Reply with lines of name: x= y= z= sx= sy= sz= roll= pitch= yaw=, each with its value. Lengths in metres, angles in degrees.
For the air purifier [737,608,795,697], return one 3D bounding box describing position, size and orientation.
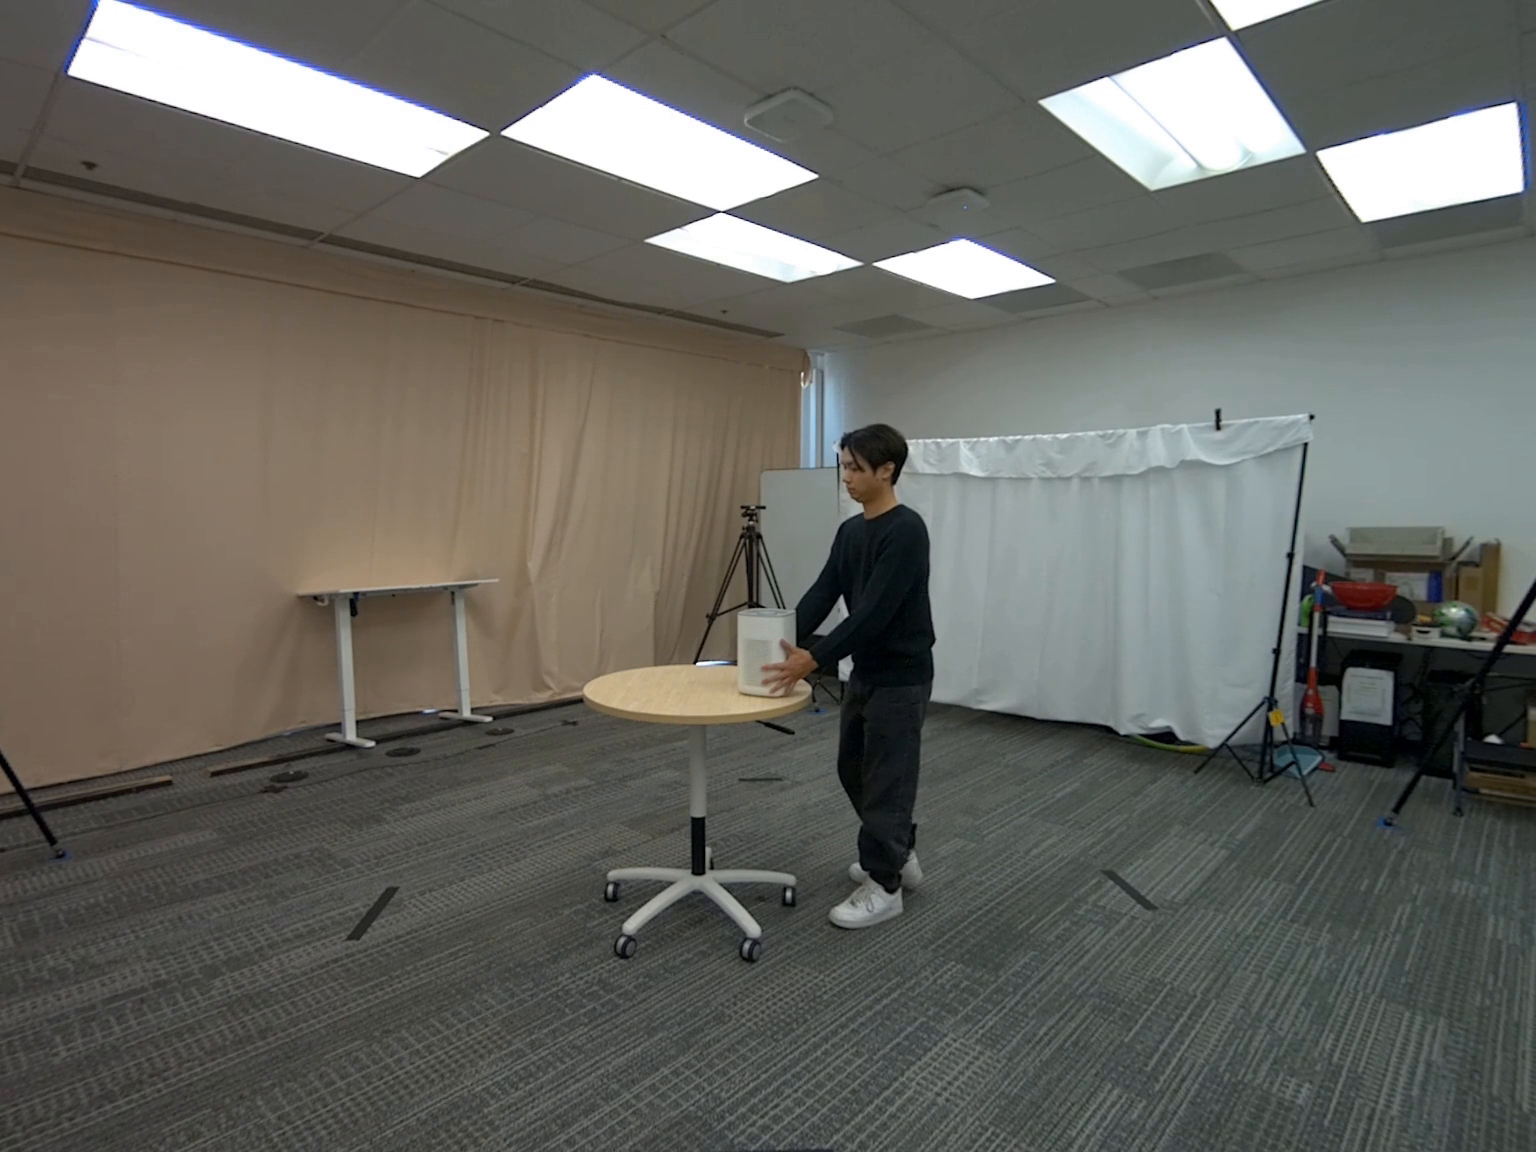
air purifier: x=0.005 y=0.250 z=2.756 sx=0.175 sy=0.265 sz=0.167 roll=1 pitch=4 yaw=21
